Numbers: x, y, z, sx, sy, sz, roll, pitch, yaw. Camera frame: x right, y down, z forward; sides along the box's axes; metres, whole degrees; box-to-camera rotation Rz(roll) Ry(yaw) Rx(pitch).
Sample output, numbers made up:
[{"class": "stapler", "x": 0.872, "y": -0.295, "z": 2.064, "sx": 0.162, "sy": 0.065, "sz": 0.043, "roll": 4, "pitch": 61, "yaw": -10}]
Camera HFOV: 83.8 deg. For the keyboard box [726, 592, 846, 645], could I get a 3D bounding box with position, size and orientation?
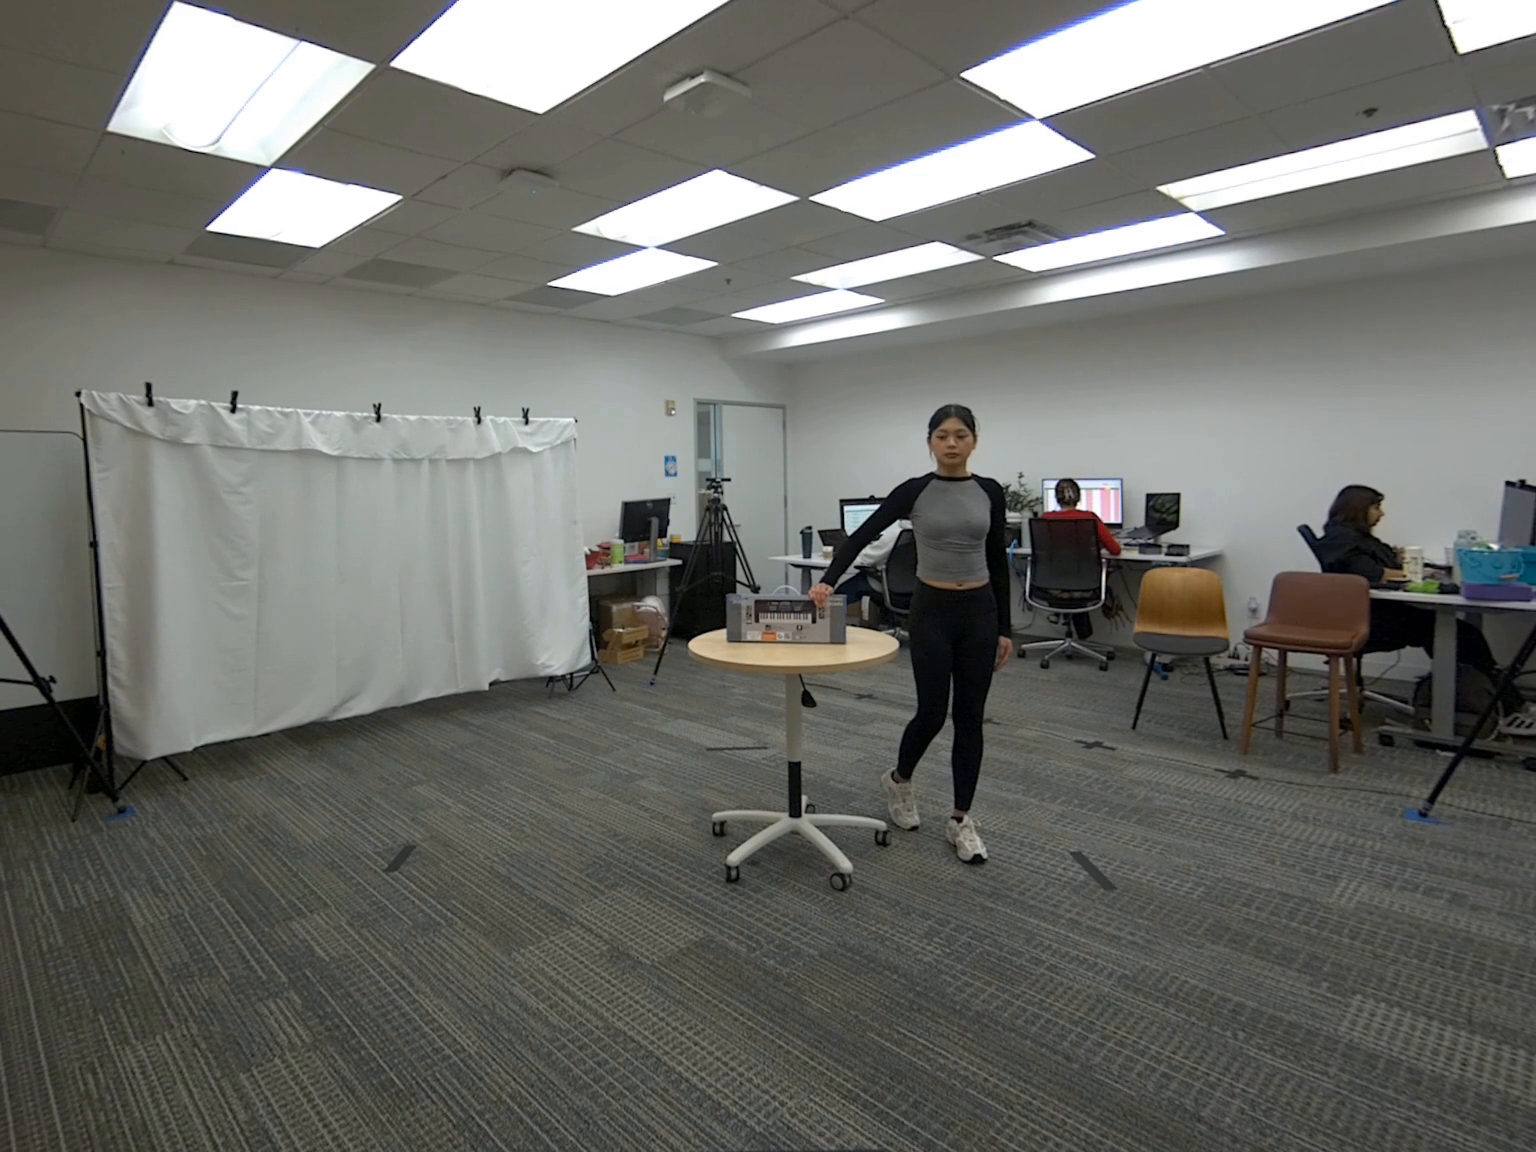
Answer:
[{"class": "keyboard box", "x": 0.067, "y": 0.150, "z": 3.134, "sx": 0.440, "sy": 0.176, "sz": 0.058, "roll": 0, "pitch": 0, "yaw": 9}]
